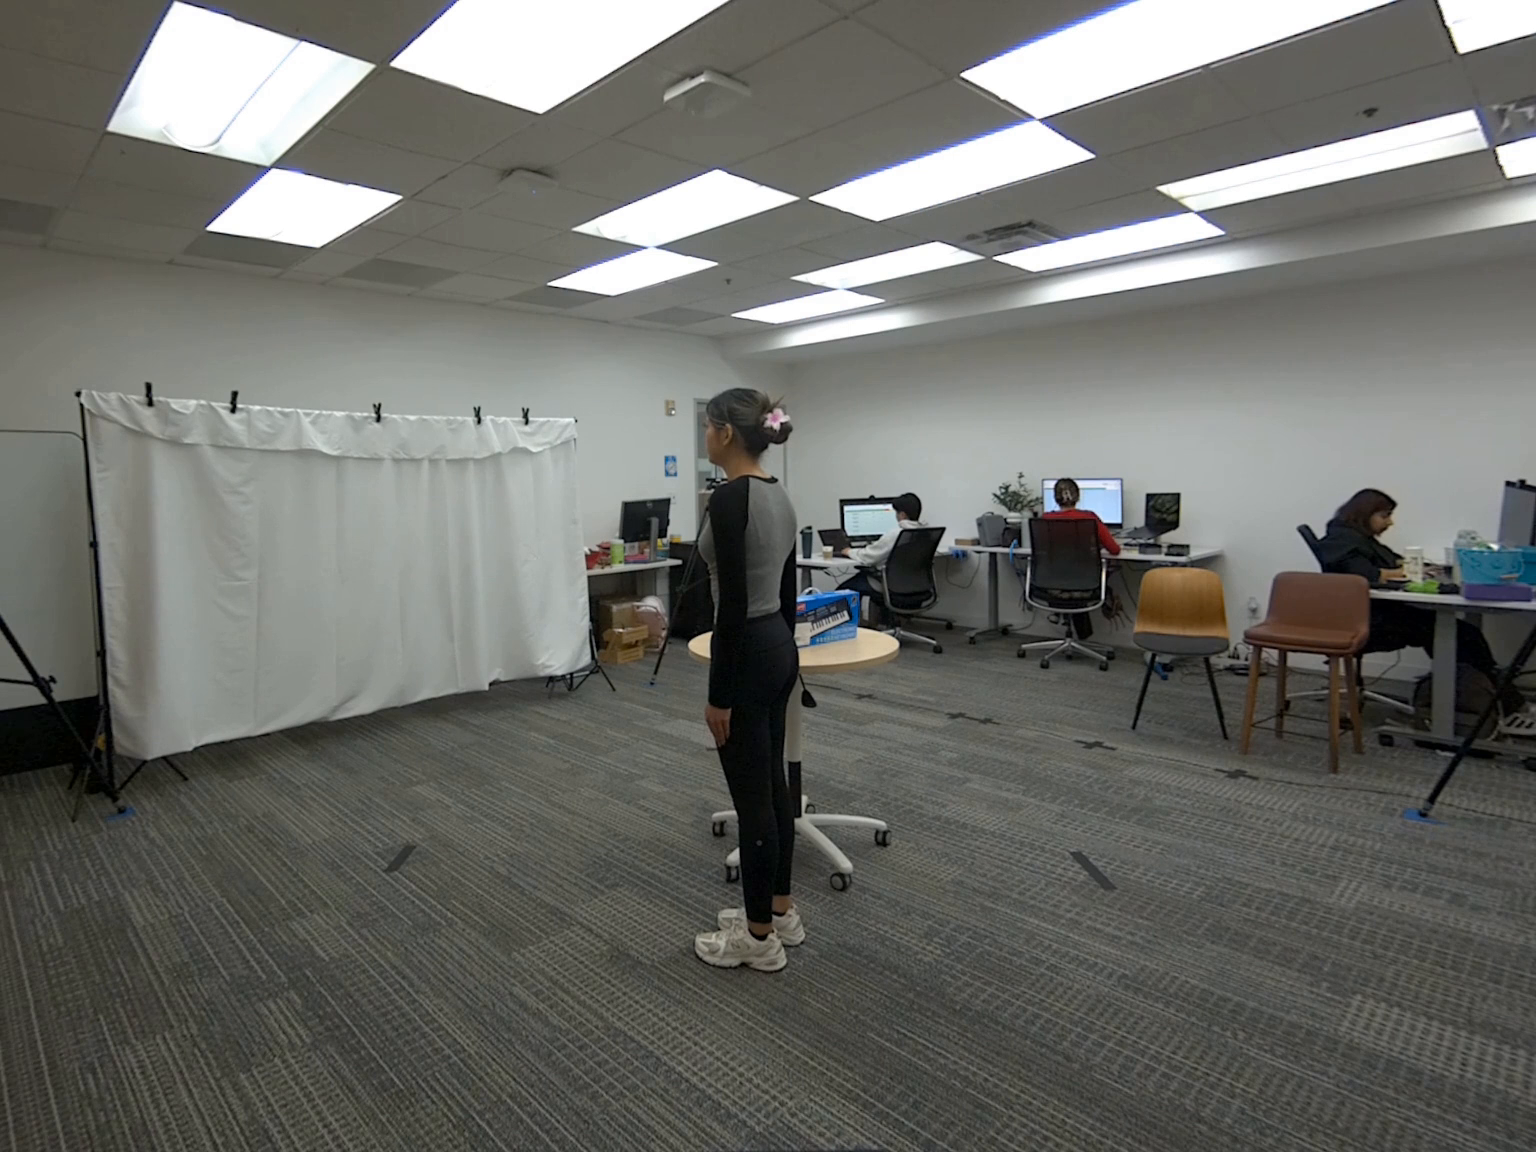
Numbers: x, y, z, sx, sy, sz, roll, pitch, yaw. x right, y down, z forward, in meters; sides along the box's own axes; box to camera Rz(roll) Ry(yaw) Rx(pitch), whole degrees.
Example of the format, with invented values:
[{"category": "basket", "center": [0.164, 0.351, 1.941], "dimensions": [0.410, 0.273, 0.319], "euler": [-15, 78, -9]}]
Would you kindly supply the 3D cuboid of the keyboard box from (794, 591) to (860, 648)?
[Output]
[{"category": "keyboard box", "center": [0.153, 0.162, 3.081], "dimensions": [0.426, 0.174, 0.061], "euler": [-7, 11, -38]}]
